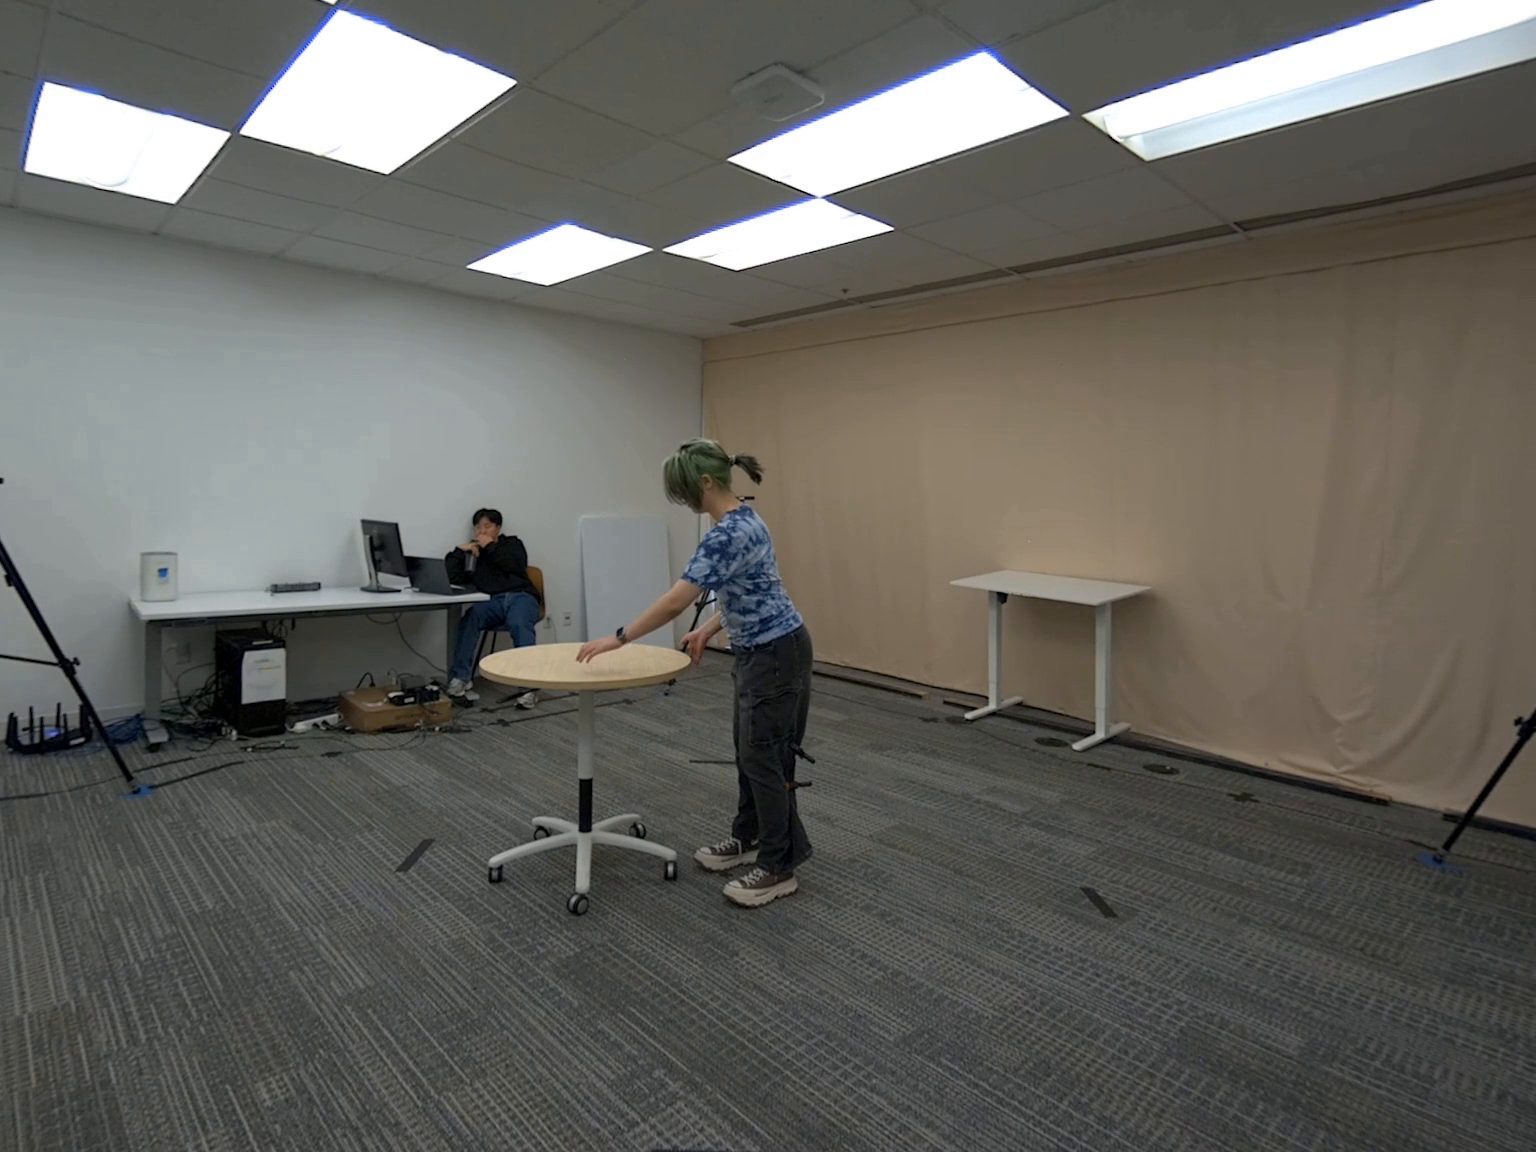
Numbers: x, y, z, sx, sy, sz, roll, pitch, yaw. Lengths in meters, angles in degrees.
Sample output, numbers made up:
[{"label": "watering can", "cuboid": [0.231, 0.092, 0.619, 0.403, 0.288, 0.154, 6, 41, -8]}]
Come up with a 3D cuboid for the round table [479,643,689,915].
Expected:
[{"label": "round table", "cuboid": [-0.683, 0.701, 3.122, 0.763, 0.792, 0.766, 1, 3, -1]}]
